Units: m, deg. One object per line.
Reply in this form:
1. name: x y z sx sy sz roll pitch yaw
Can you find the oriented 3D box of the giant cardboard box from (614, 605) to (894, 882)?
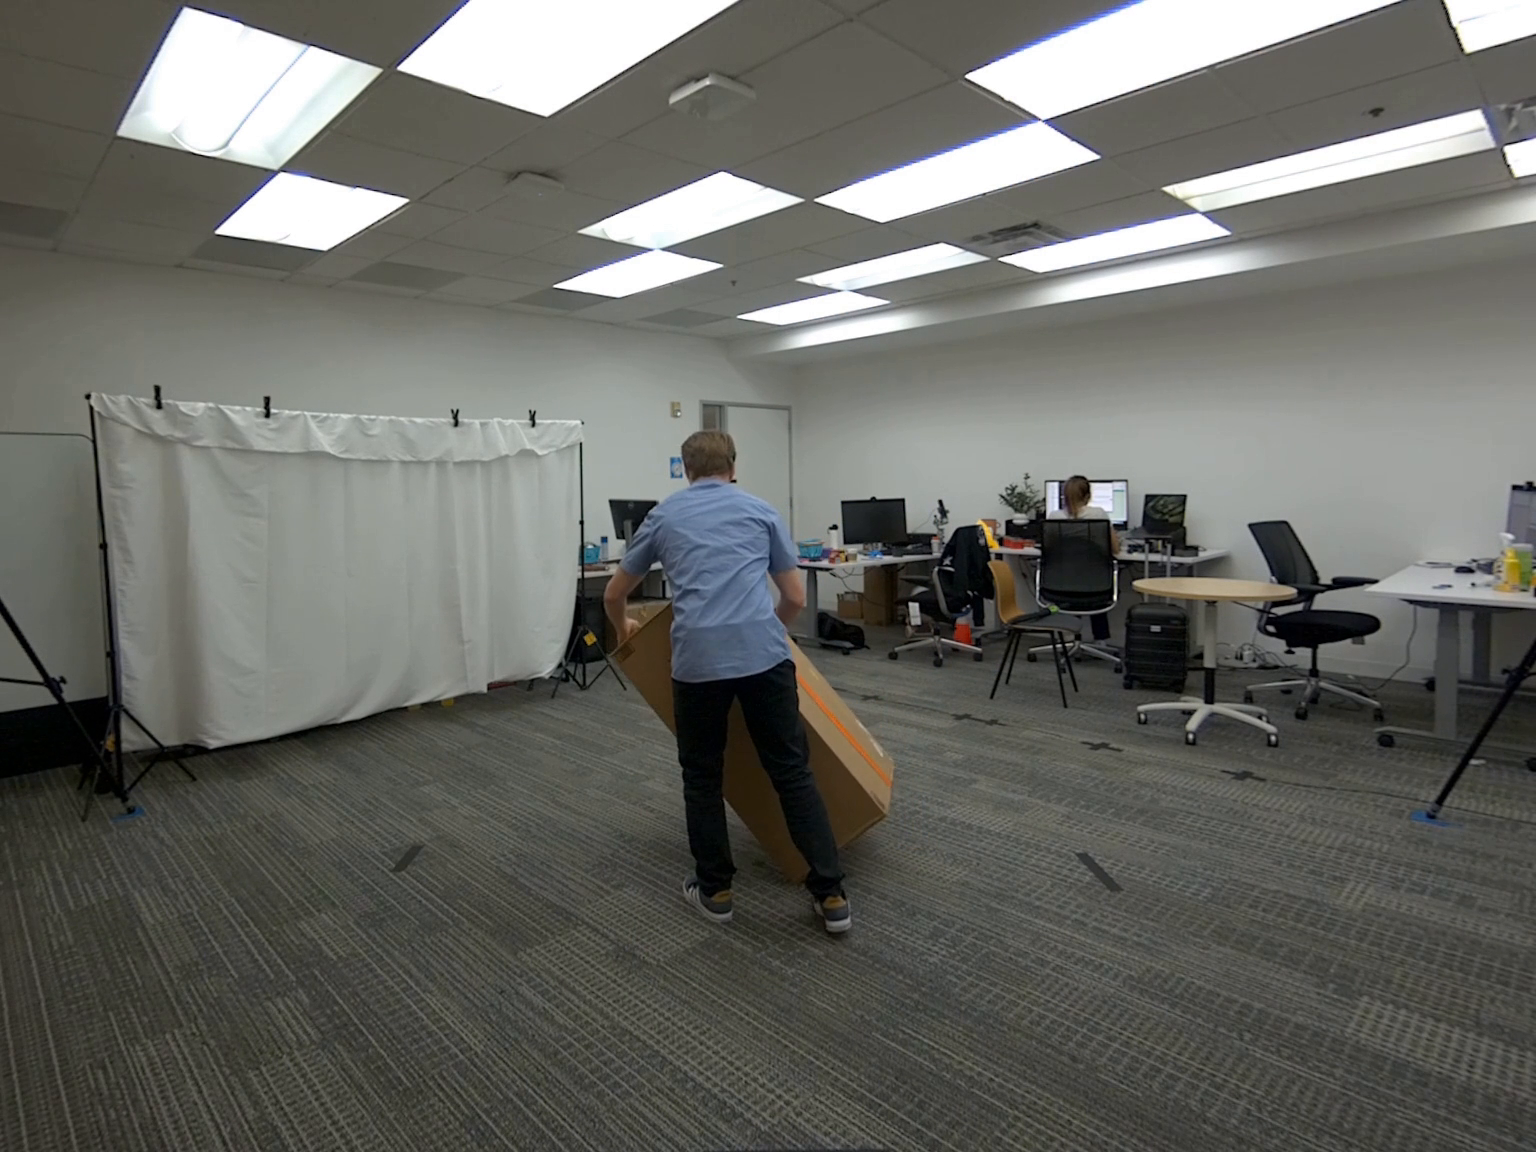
1. giant cardboard box: -0.031 0.509 3.227 0.447 1.035 0.578 -41 -5 13
